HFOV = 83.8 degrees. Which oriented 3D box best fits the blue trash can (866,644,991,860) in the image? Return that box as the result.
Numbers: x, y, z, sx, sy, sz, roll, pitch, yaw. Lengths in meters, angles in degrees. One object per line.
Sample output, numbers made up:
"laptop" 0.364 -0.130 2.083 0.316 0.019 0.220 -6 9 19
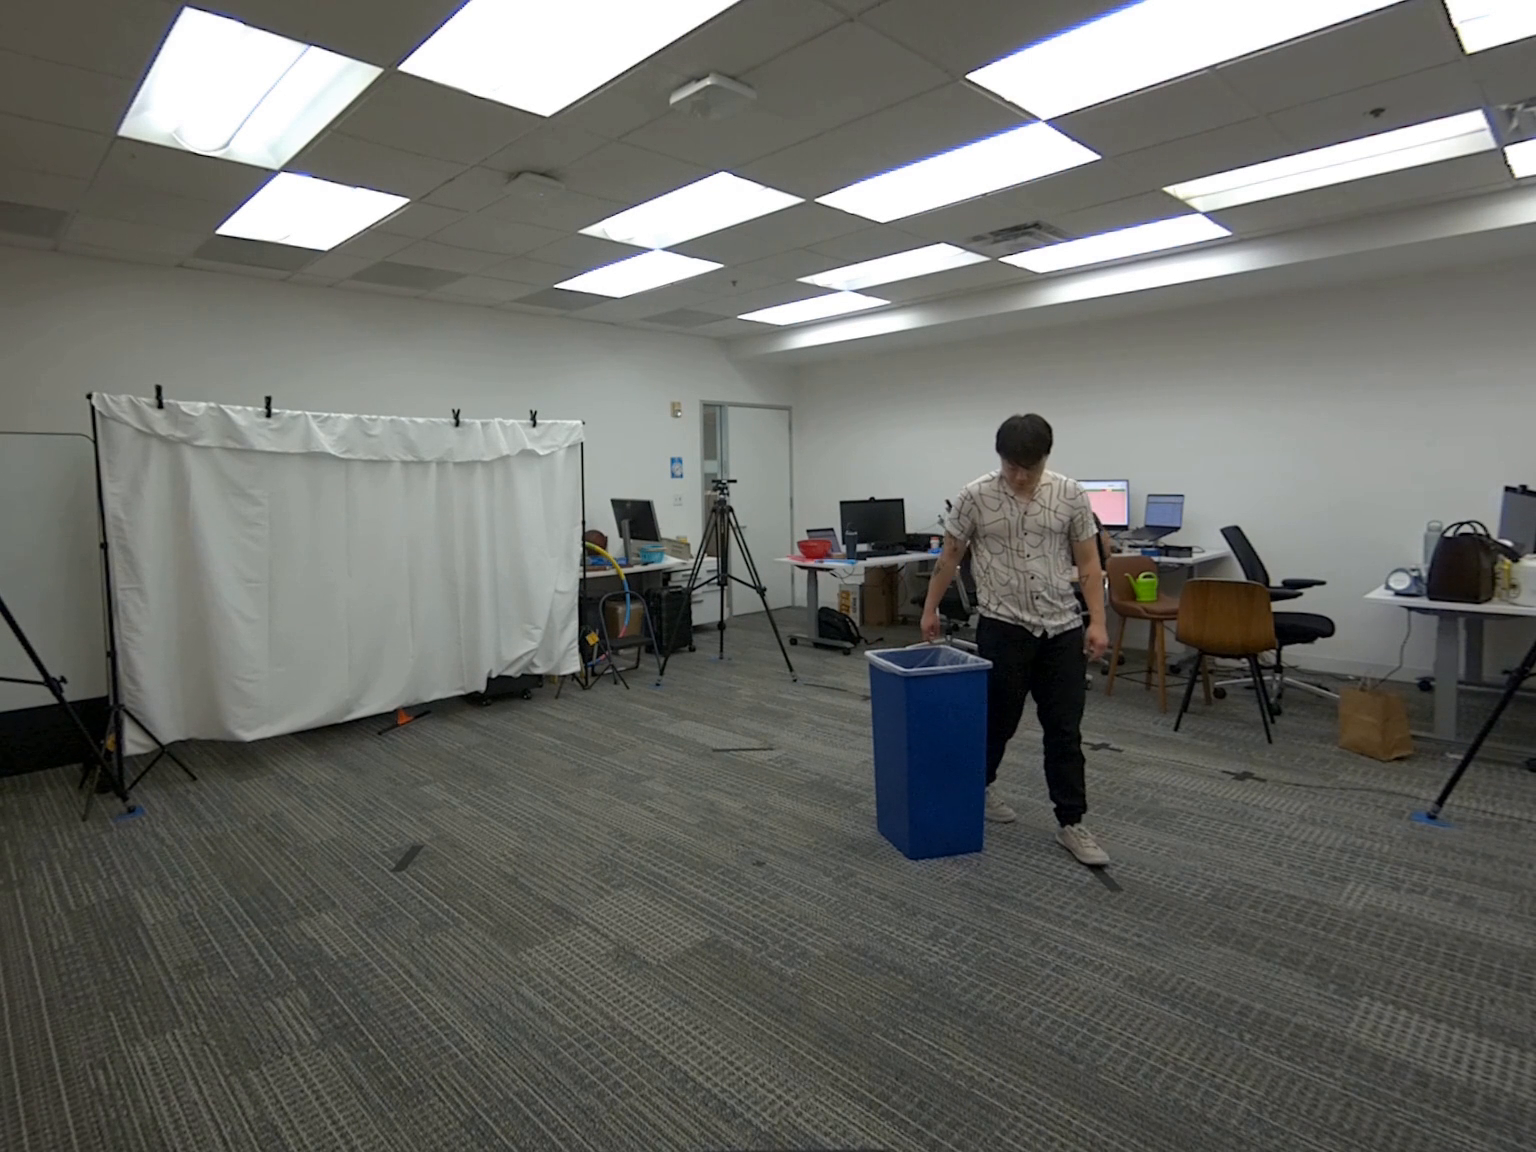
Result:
"blue trash can" 0.609 0.662 3.261 0.369 0.711 0.384 -2 3 -16
